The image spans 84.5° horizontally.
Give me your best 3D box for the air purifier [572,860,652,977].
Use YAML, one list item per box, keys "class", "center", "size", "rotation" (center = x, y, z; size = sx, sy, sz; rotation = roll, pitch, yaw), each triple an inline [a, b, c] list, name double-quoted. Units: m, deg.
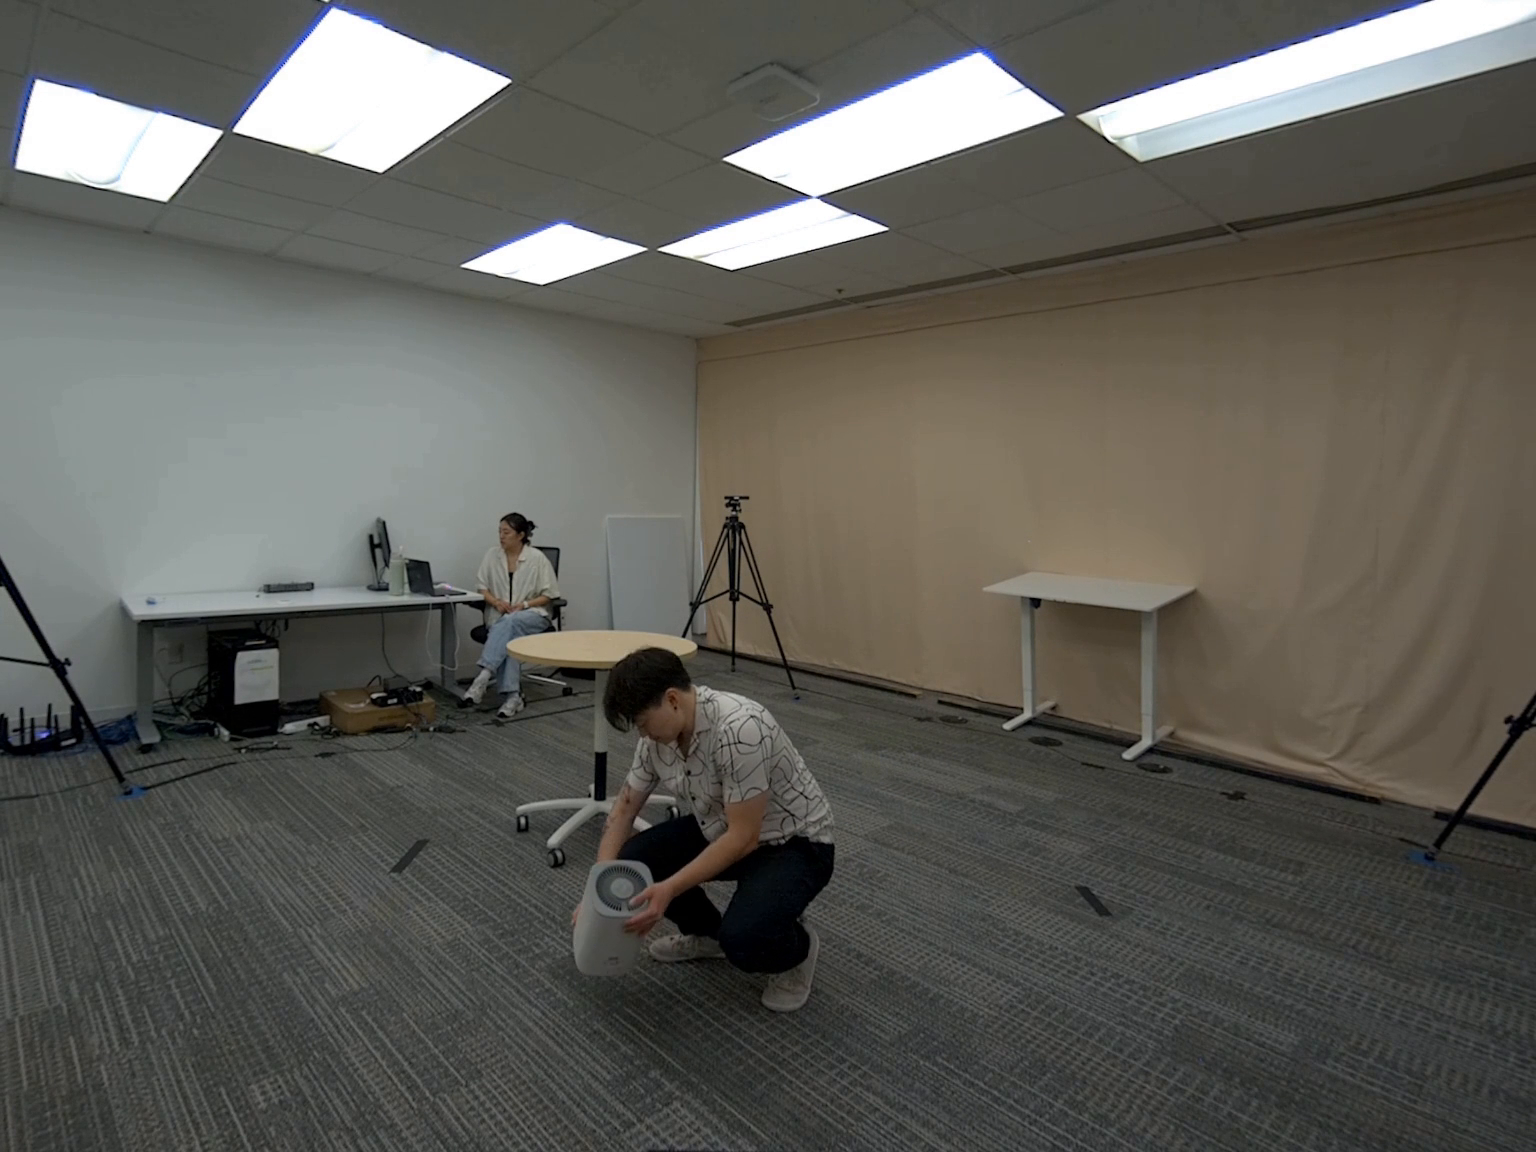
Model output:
- class: "air purifier"
  center: [-0.417, 0.910, 2.252]
  size: [0.168, 0.262, 0.176]
  rotation: [7, 30, -20]
